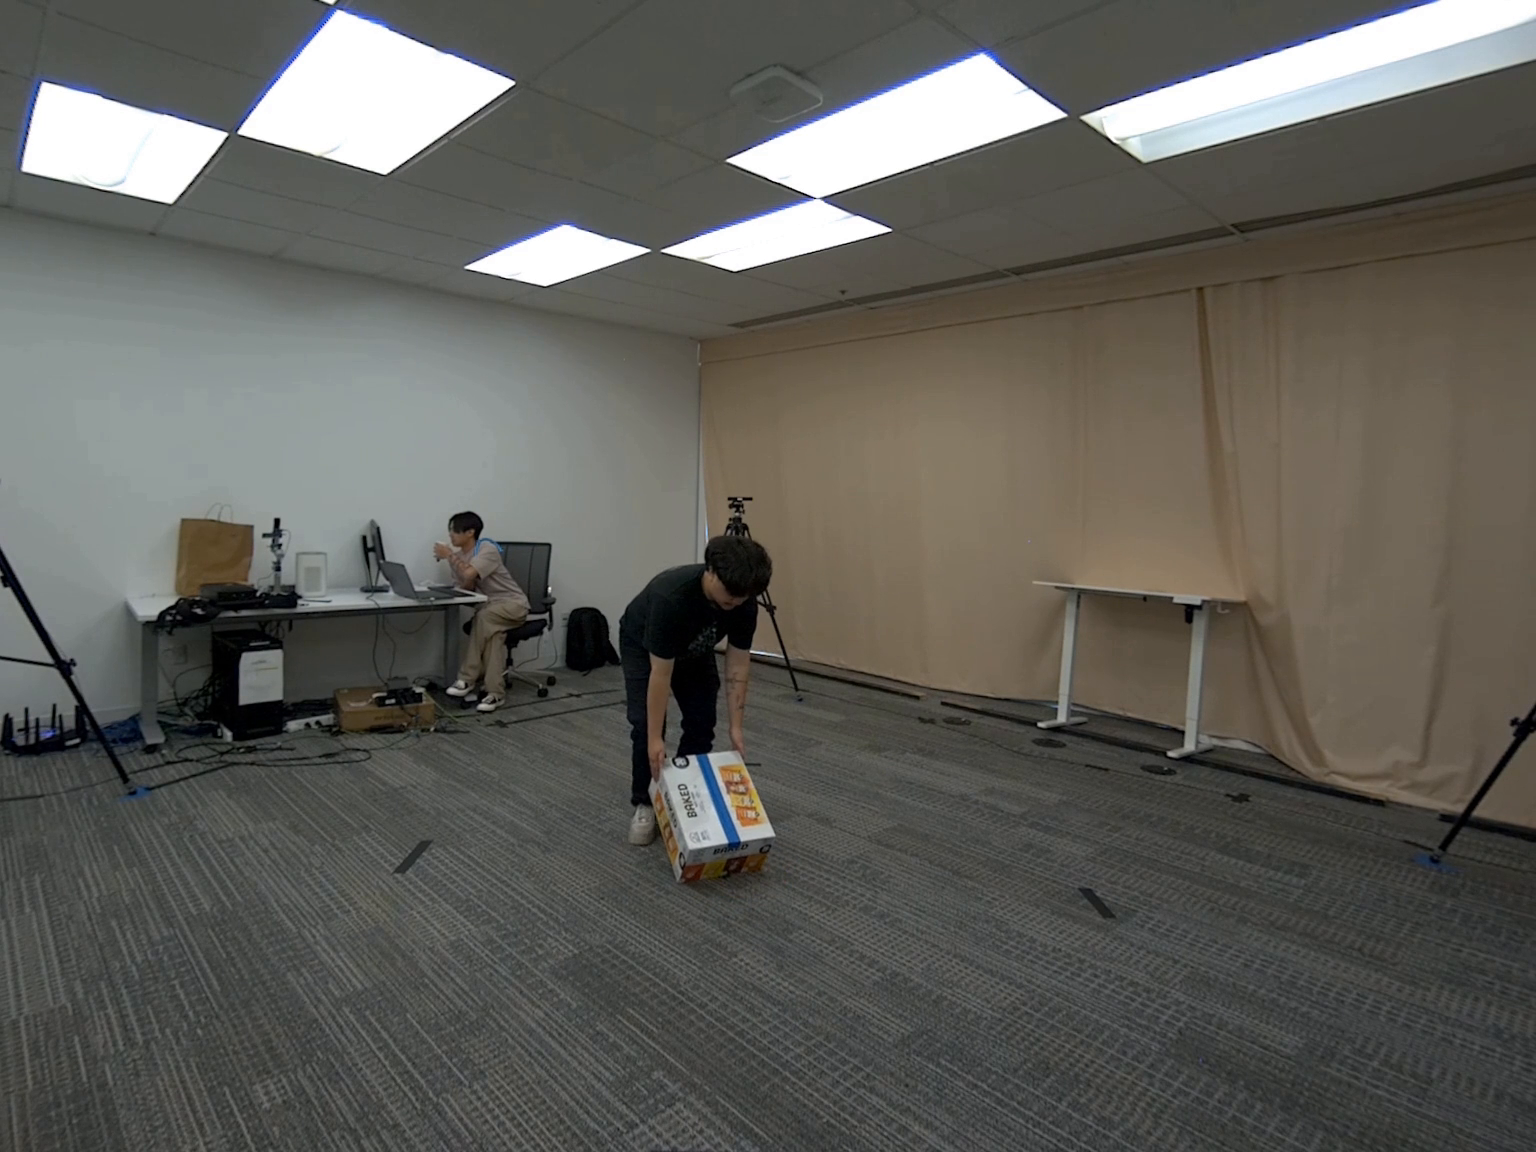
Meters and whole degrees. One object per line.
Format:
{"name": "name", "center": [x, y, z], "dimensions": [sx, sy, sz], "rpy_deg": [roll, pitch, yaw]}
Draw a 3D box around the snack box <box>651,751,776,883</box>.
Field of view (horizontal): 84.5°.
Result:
{"name": "snack box", "center": [-0.231, 0.904, 3.190], "dimensions": [0.334, 0.203, 0.418], "rpy_deg": [-1, 39, -26]}
